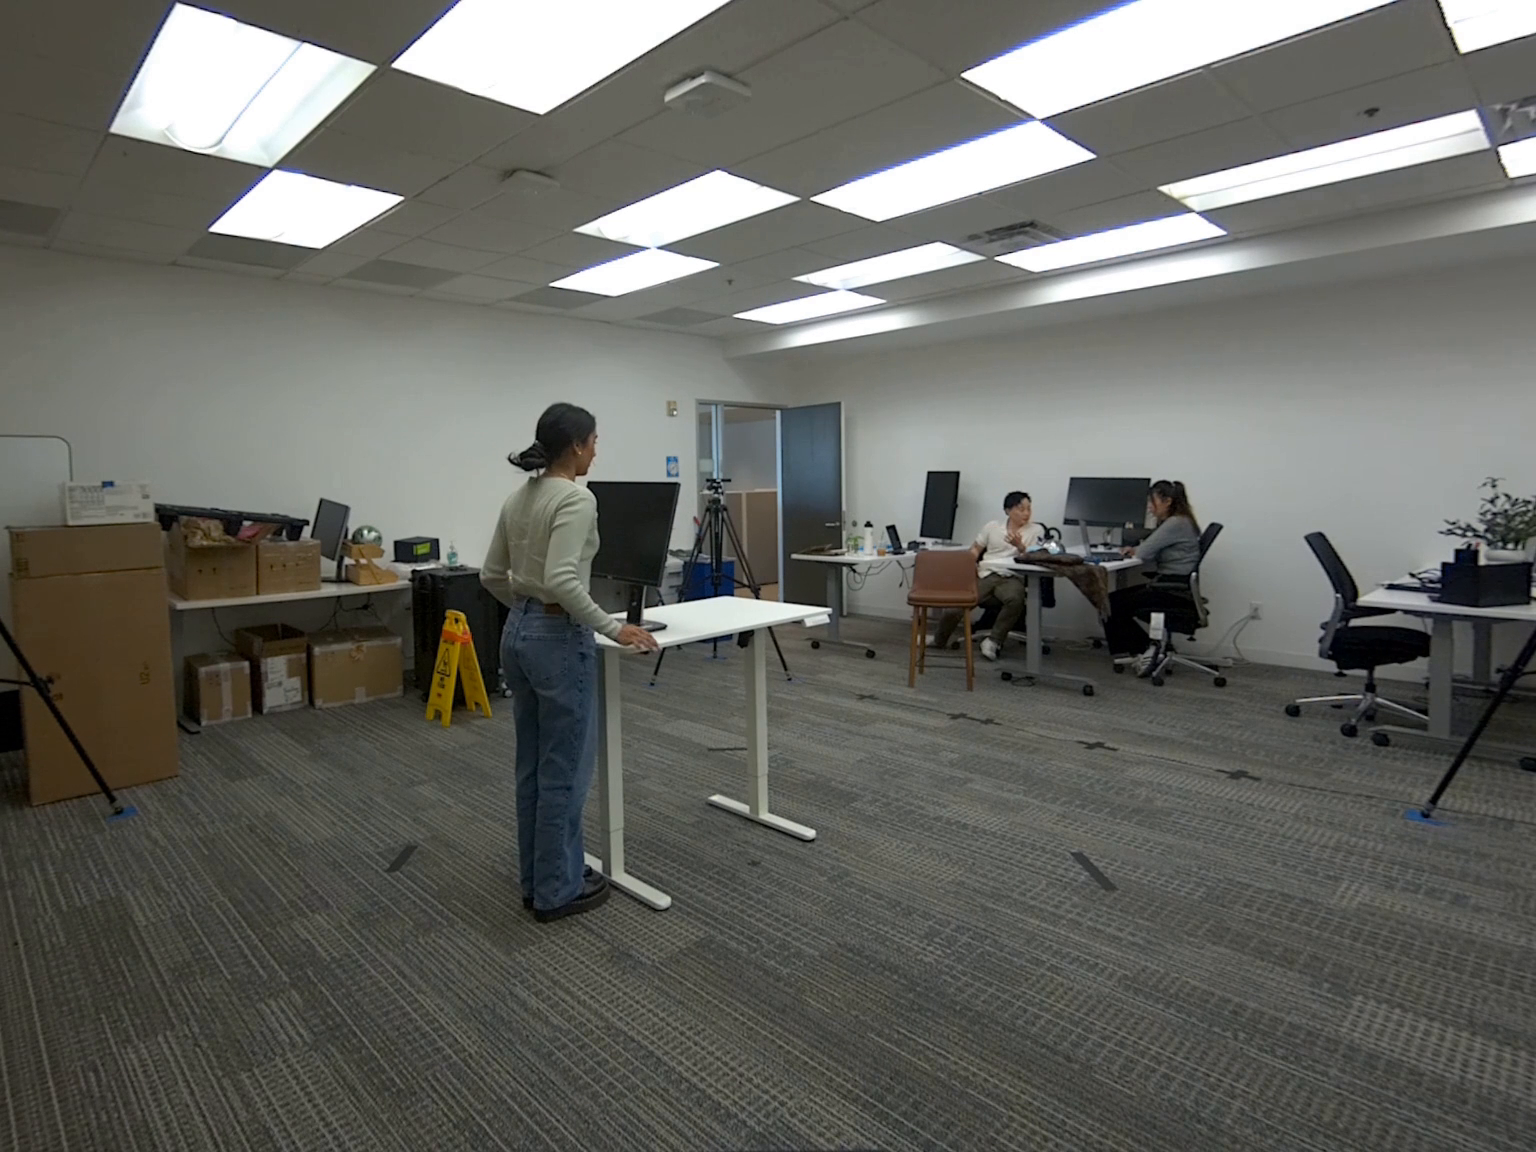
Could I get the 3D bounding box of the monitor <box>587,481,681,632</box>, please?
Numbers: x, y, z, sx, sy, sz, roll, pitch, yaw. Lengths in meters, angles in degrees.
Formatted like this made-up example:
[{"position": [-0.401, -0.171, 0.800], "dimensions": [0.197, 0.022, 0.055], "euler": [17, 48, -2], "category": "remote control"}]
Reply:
[{"position": [-0.492, -0.068, 2.995], "dimensions": [0.182, 0.521, 0.556], "euler": [-3, 6, -43], "category": "monitor"}]
